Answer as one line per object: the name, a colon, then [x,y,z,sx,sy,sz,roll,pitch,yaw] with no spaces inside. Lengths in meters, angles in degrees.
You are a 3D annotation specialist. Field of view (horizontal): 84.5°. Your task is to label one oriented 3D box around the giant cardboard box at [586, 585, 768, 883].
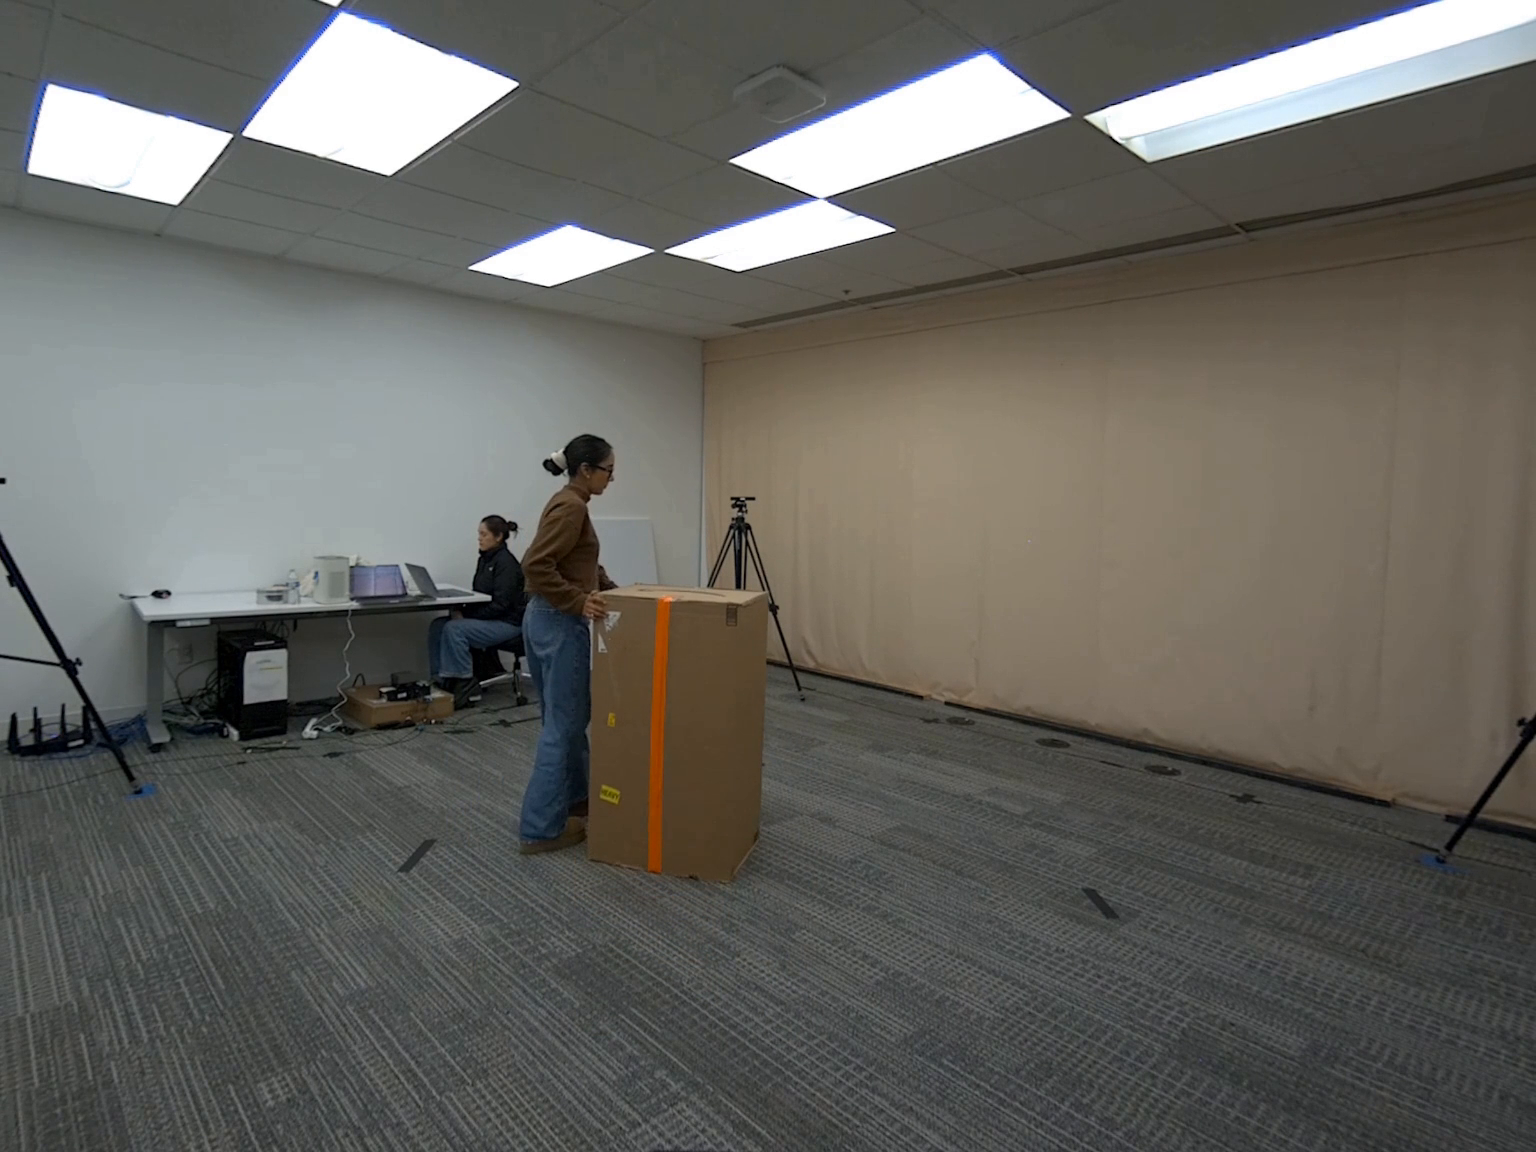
giant cardboard box: [-0.346,0.577,3.289,0.586,1.023,0.421,3,4,17]
